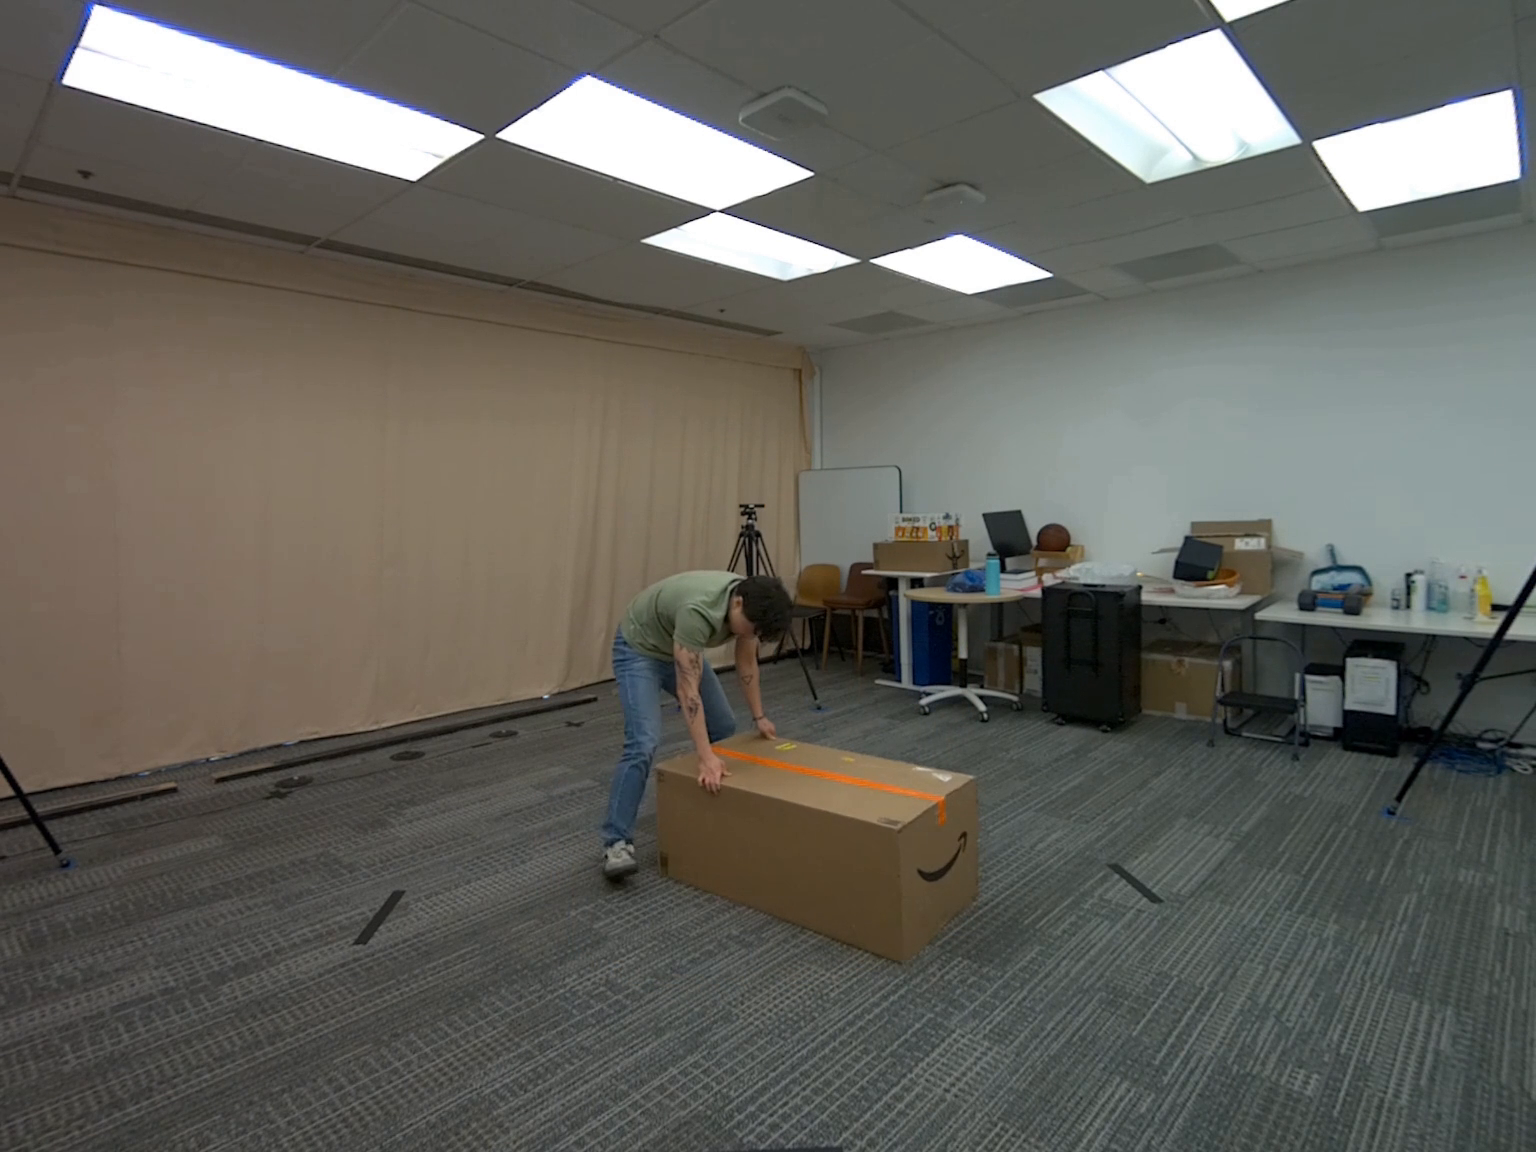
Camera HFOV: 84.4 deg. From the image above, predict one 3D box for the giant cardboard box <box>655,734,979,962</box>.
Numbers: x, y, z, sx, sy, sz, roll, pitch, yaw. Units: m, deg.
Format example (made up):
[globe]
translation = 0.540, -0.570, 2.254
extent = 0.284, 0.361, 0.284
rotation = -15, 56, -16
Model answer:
[giant cardboard box]
translation = 0.164, 0.917, 3.060
extent = 1.059, 0.425, 0.560
rotation = 2, 5, 39
